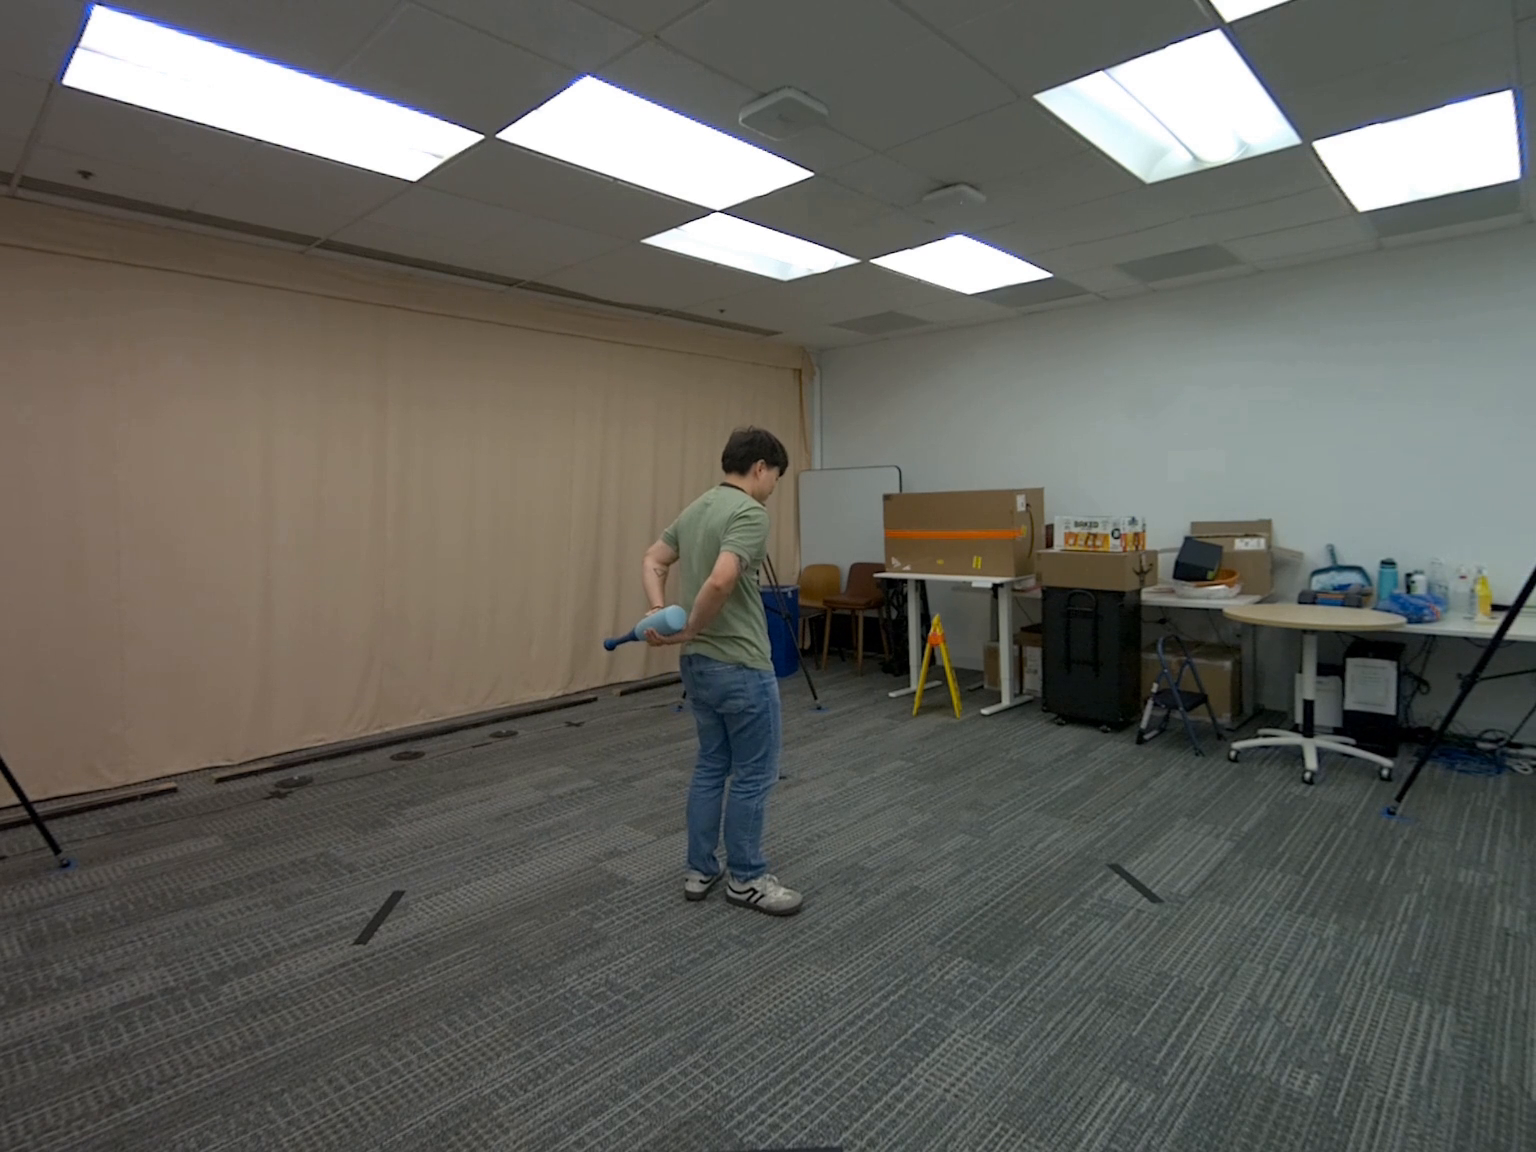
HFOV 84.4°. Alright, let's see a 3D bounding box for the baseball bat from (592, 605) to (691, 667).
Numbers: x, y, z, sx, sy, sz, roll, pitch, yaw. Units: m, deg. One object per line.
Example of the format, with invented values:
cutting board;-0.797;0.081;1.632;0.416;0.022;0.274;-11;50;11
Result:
baseball bat;-0.441;0.214;2.937;0.086;0.090;0.554;-4;-13;-39
